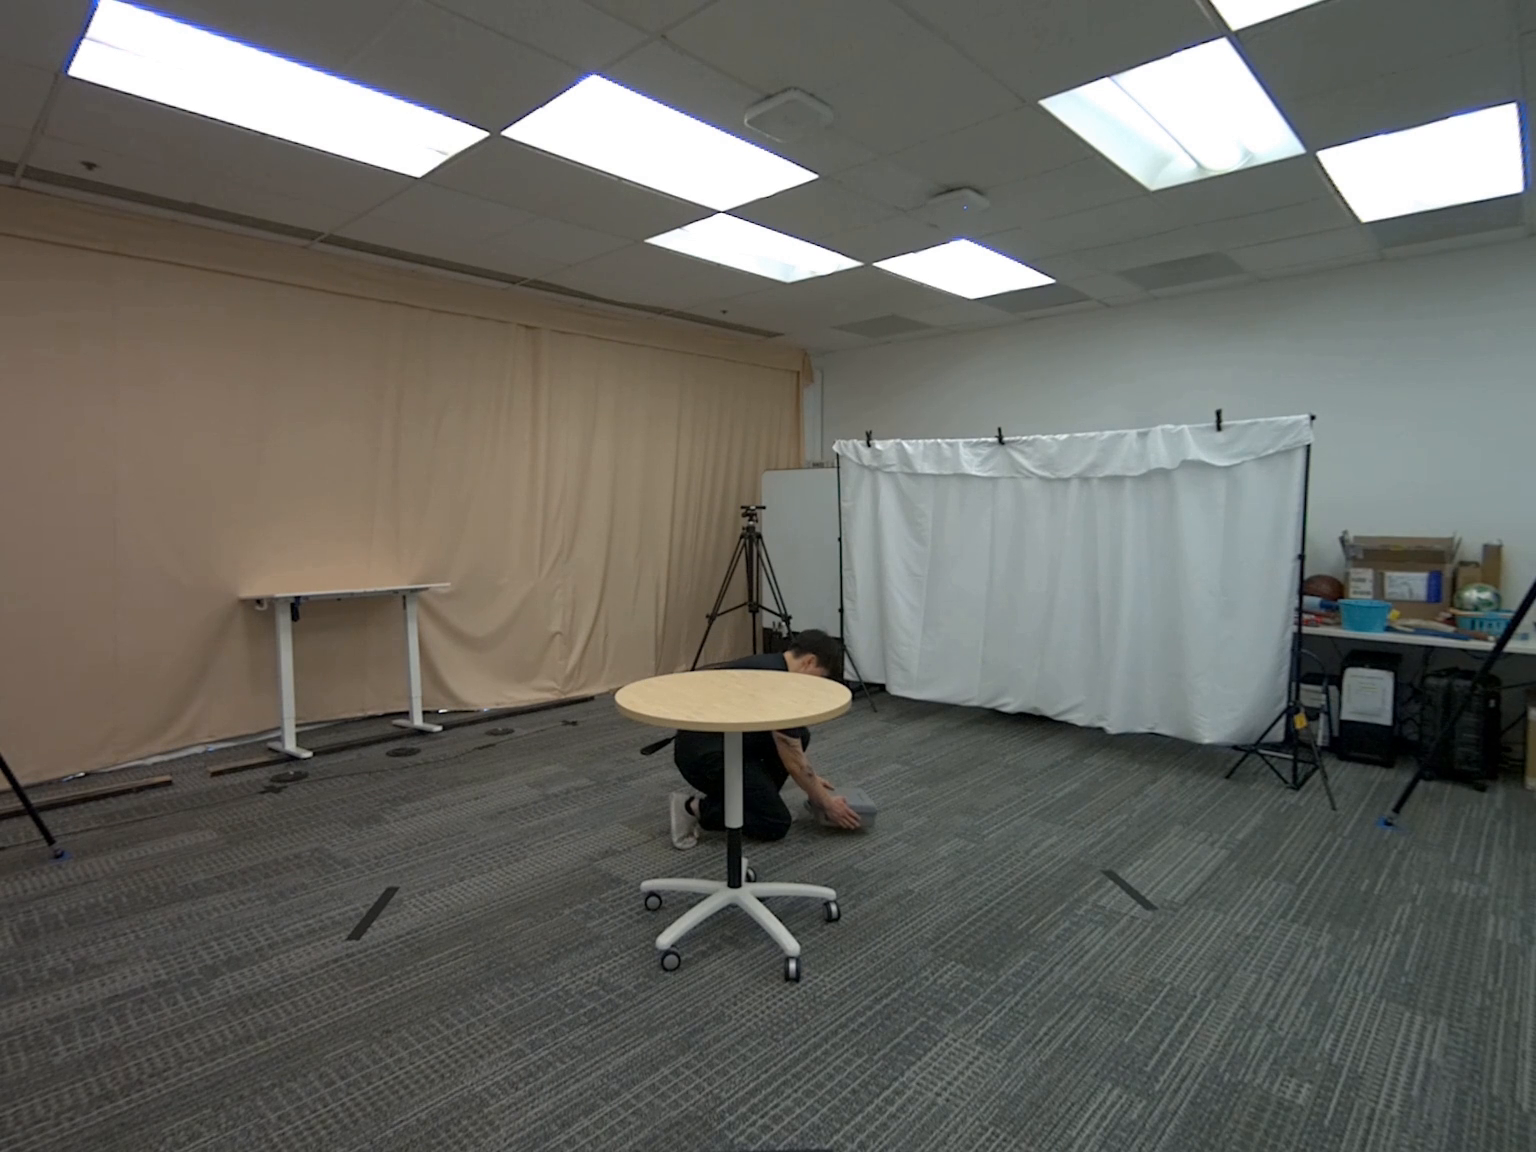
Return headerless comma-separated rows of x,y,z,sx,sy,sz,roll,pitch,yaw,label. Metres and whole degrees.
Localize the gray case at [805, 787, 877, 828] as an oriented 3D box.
0.326,0.996,3.651,0.259,0.104,0.259,4,3,-7,gray case
